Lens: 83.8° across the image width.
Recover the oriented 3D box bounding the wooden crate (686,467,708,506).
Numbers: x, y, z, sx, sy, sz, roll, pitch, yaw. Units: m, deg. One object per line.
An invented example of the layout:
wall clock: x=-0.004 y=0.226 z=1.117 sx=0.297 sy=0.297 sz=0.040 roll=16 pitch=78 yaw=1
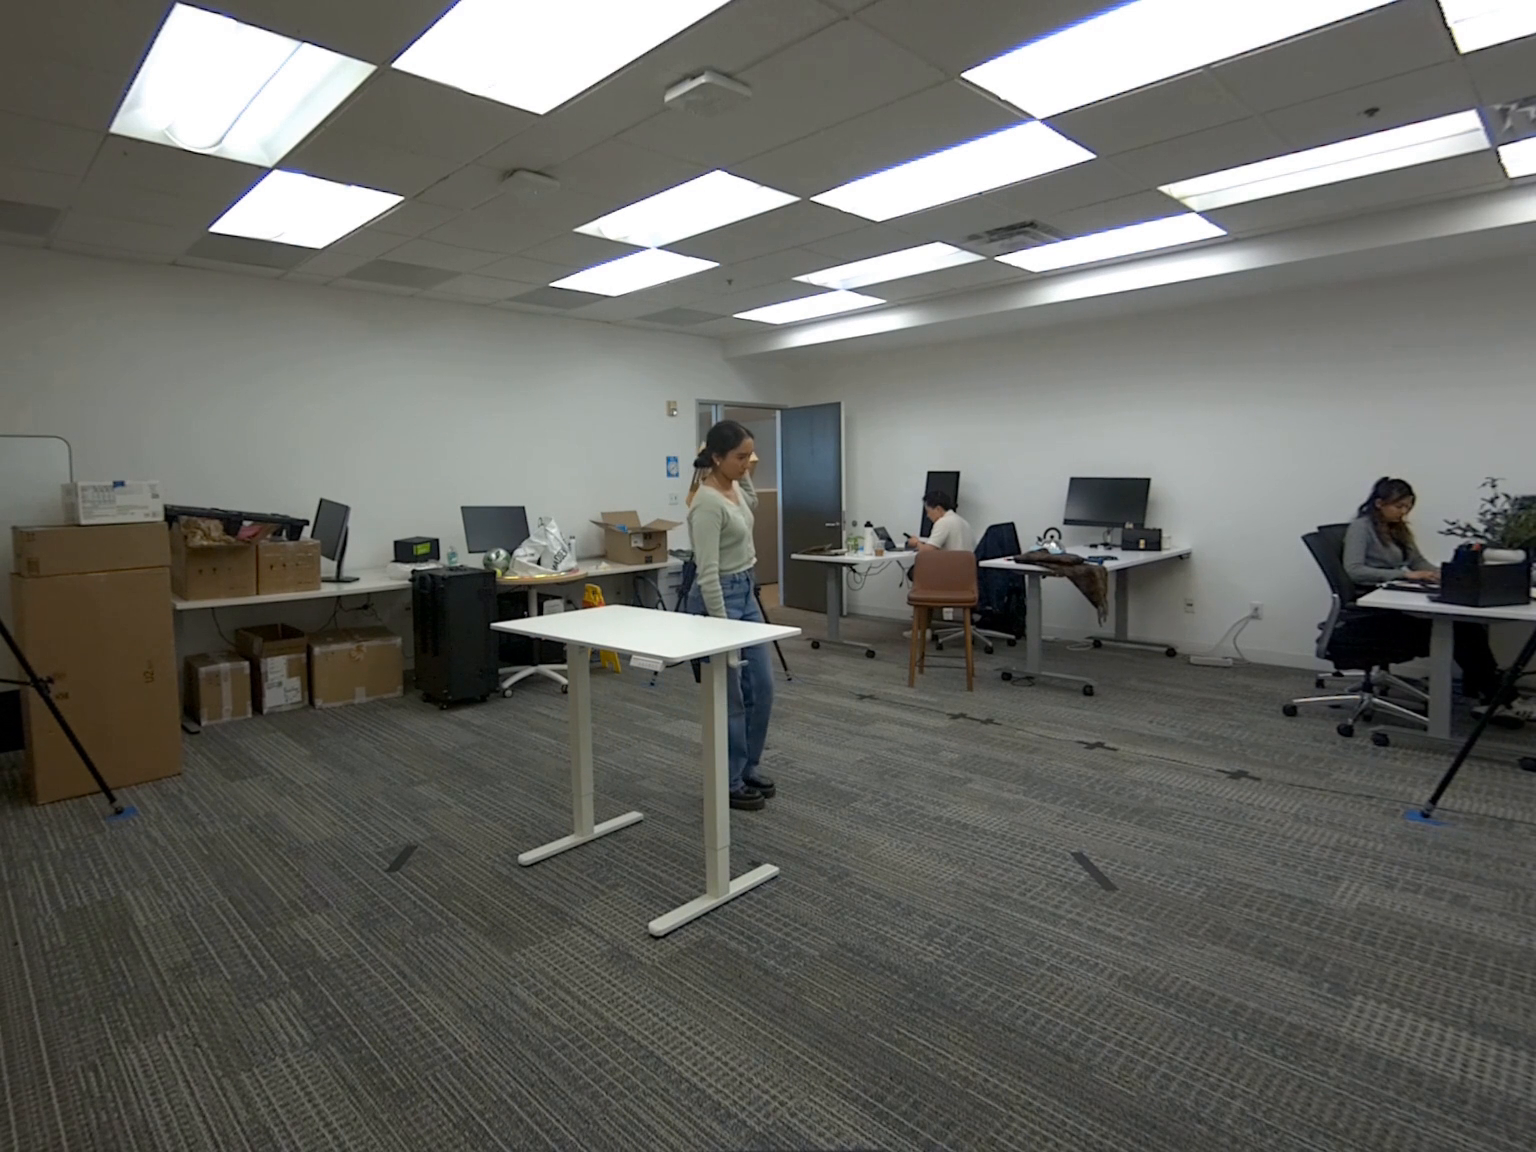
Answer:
wooden crate: x=-0.232 y=-0.472 z=3.952 sx=0.268 sy=0.319 sz=0.313 roll=-11 pitch=51 yaw=-28
